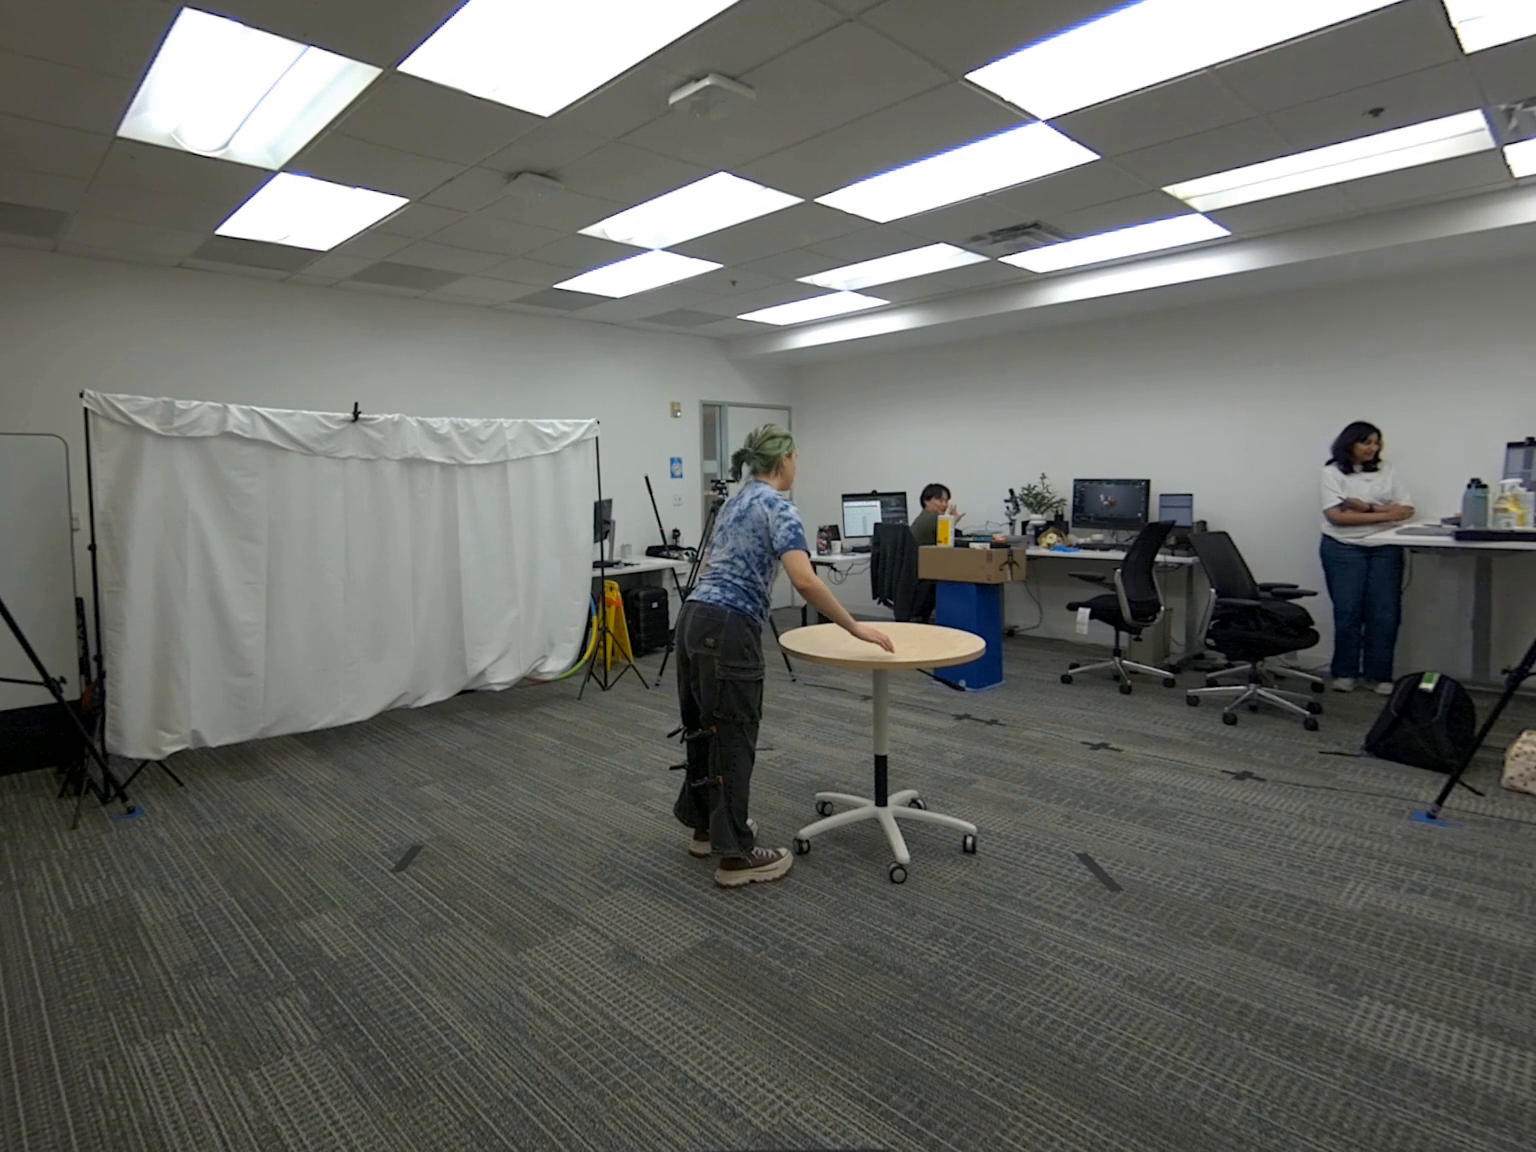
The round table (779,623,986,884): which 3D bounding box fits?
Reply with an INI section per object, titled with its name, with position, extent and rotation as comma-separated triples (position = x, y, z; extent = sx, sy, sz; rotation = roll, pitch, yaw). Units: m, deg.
[round table]
position = 0.435, 0.633, 3.262
extent = 0.763, 0.791, 0.768
rotation = -1, 5, -2
